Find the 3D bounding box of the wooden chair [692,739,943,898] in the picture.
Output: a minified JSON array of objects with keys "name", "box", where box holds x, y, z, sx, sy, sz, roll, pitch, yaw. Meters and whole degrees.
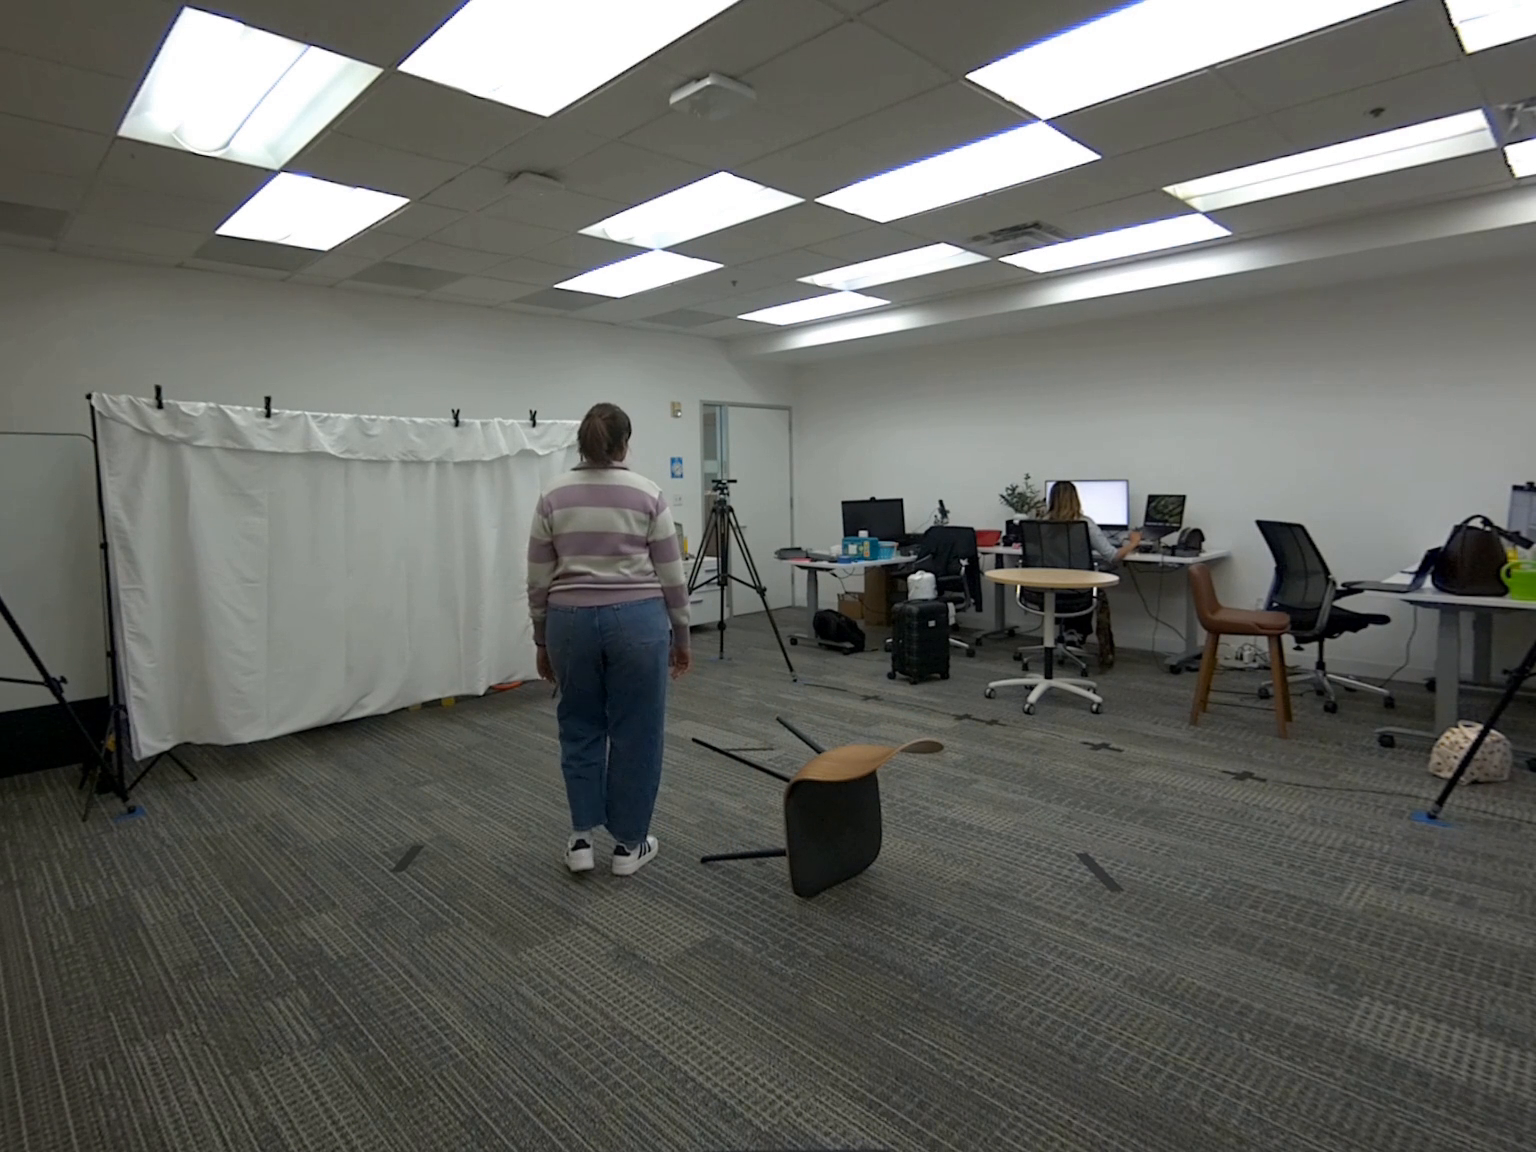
[{"name":"wooden chair","box":[0.193,0.804,2.950,0.465,0.525,0.899,-4,-2,-42]}]
